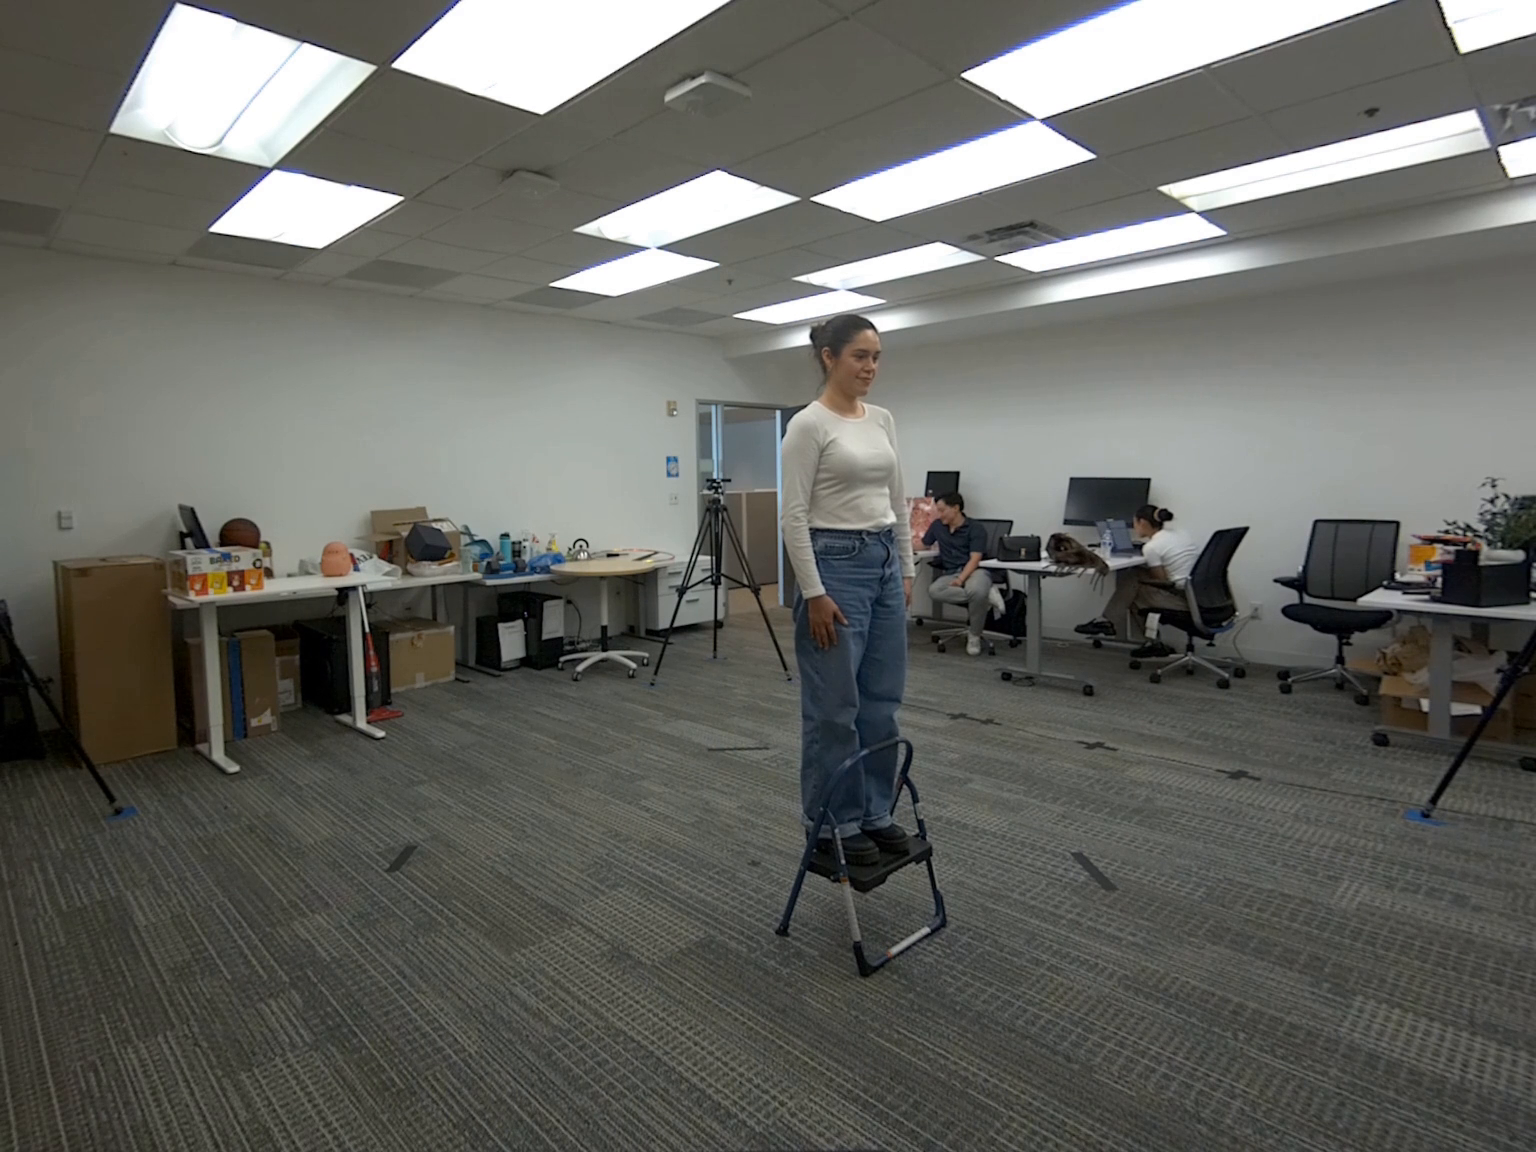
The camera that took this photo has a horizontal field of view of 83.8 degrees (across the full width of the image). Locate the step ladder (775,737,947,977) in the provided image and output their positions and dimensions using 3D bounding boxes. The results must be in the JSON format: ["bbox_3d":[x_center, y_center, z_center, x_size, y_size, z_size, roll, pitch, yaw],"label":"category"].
[{"bbox_3d":[0.288,0.792,2.624,0.360,0.603,0.419,4,7,45],"label":"step ladder"}]
